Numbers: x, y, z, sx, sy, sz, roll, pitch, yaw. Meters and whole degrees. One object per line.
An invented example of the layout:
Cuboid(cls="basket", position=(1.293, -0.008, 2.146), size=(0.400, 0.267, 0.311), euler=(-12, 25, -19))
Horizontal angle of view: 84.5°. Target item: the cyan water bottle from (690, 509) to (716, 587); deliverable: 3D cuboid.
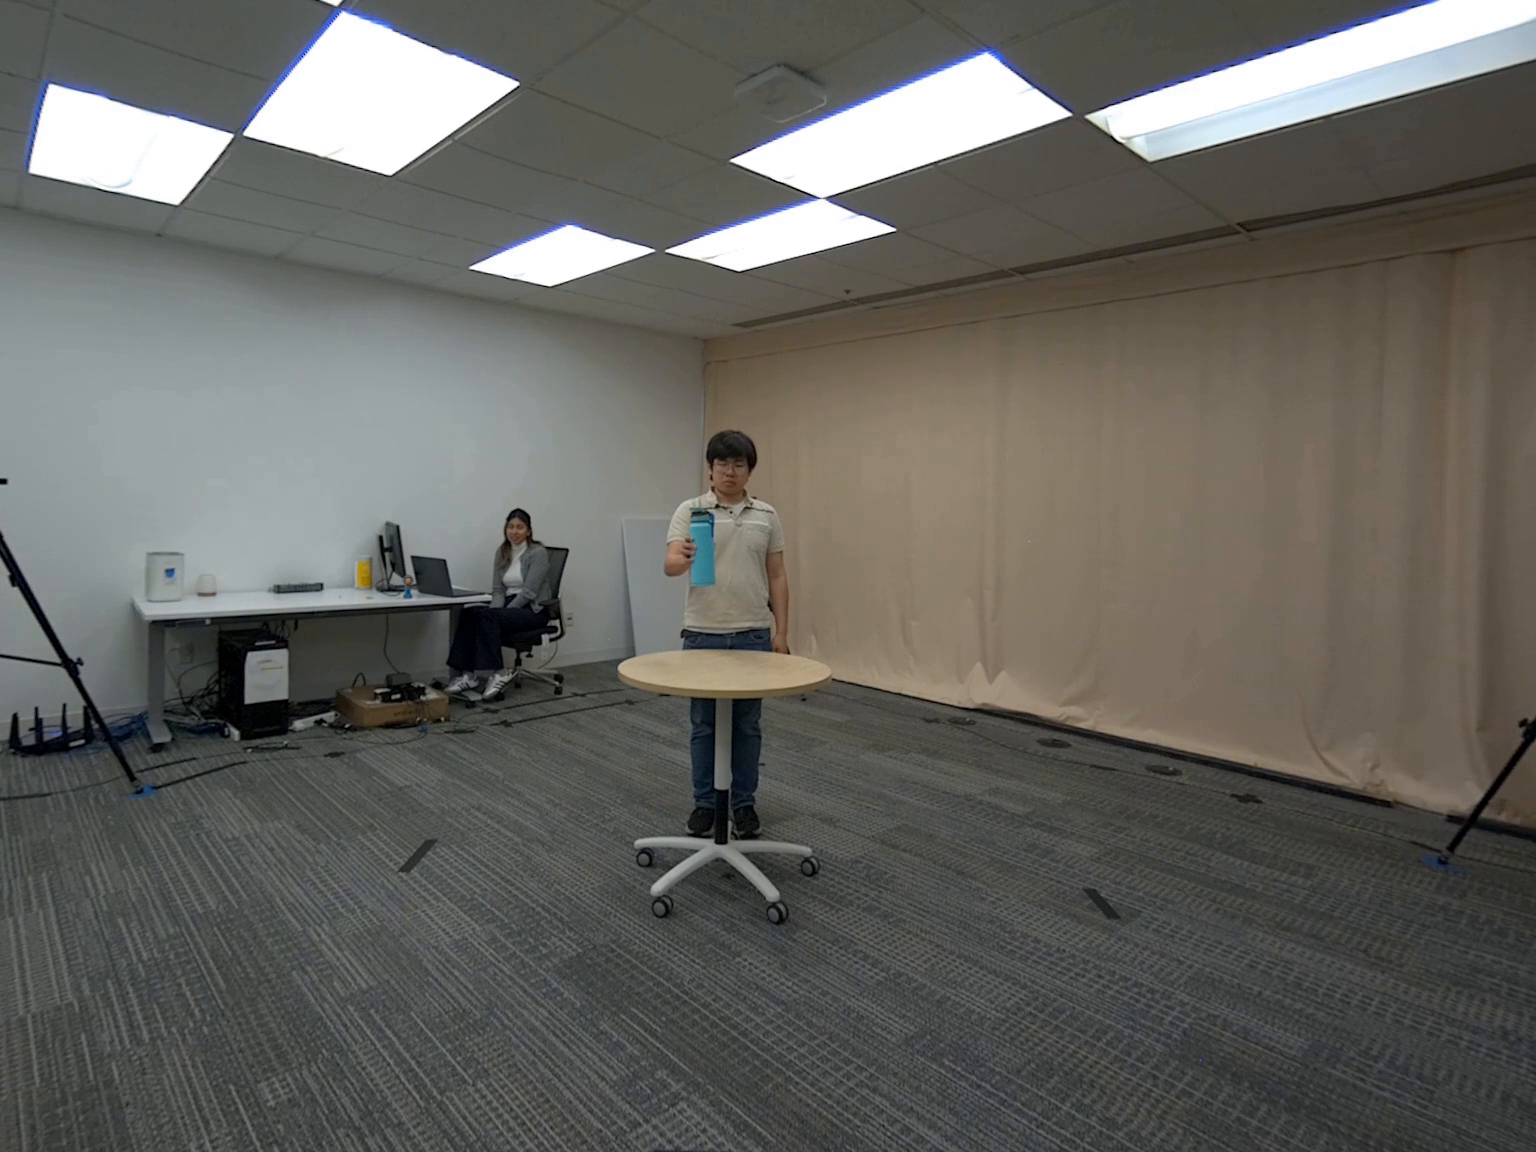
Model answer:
Cuboid(cls="cyan water bottle", position=(-0.248, -0.109, 3.058), size=(0.092, 0.283, 0.092), euler=(2, 1, -1))
